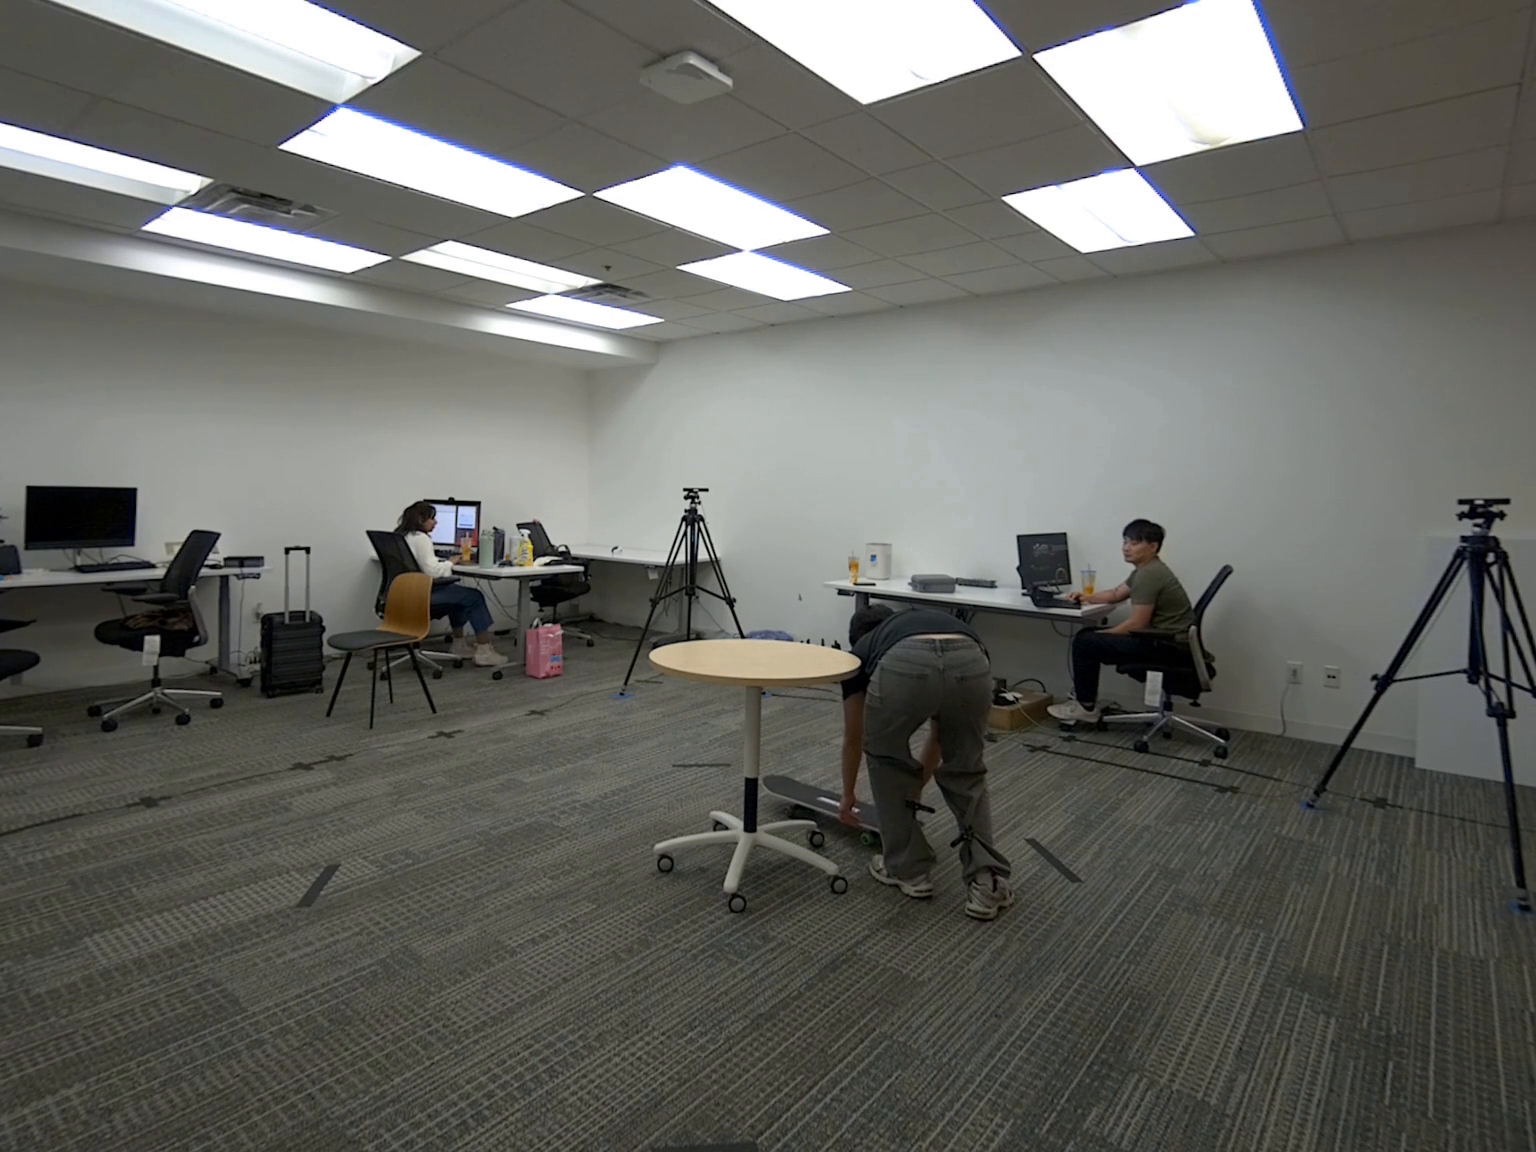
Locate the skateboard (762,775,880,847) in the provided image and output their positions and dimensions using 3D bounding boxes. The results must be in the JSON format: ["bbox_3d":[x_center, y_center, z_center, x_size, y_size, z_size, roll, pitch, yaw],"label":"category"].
[{"bbox_3d":[0.285,0.980,3.541,0.813,0.110,0.188,7,8,43],"label":"skateboard"}]
